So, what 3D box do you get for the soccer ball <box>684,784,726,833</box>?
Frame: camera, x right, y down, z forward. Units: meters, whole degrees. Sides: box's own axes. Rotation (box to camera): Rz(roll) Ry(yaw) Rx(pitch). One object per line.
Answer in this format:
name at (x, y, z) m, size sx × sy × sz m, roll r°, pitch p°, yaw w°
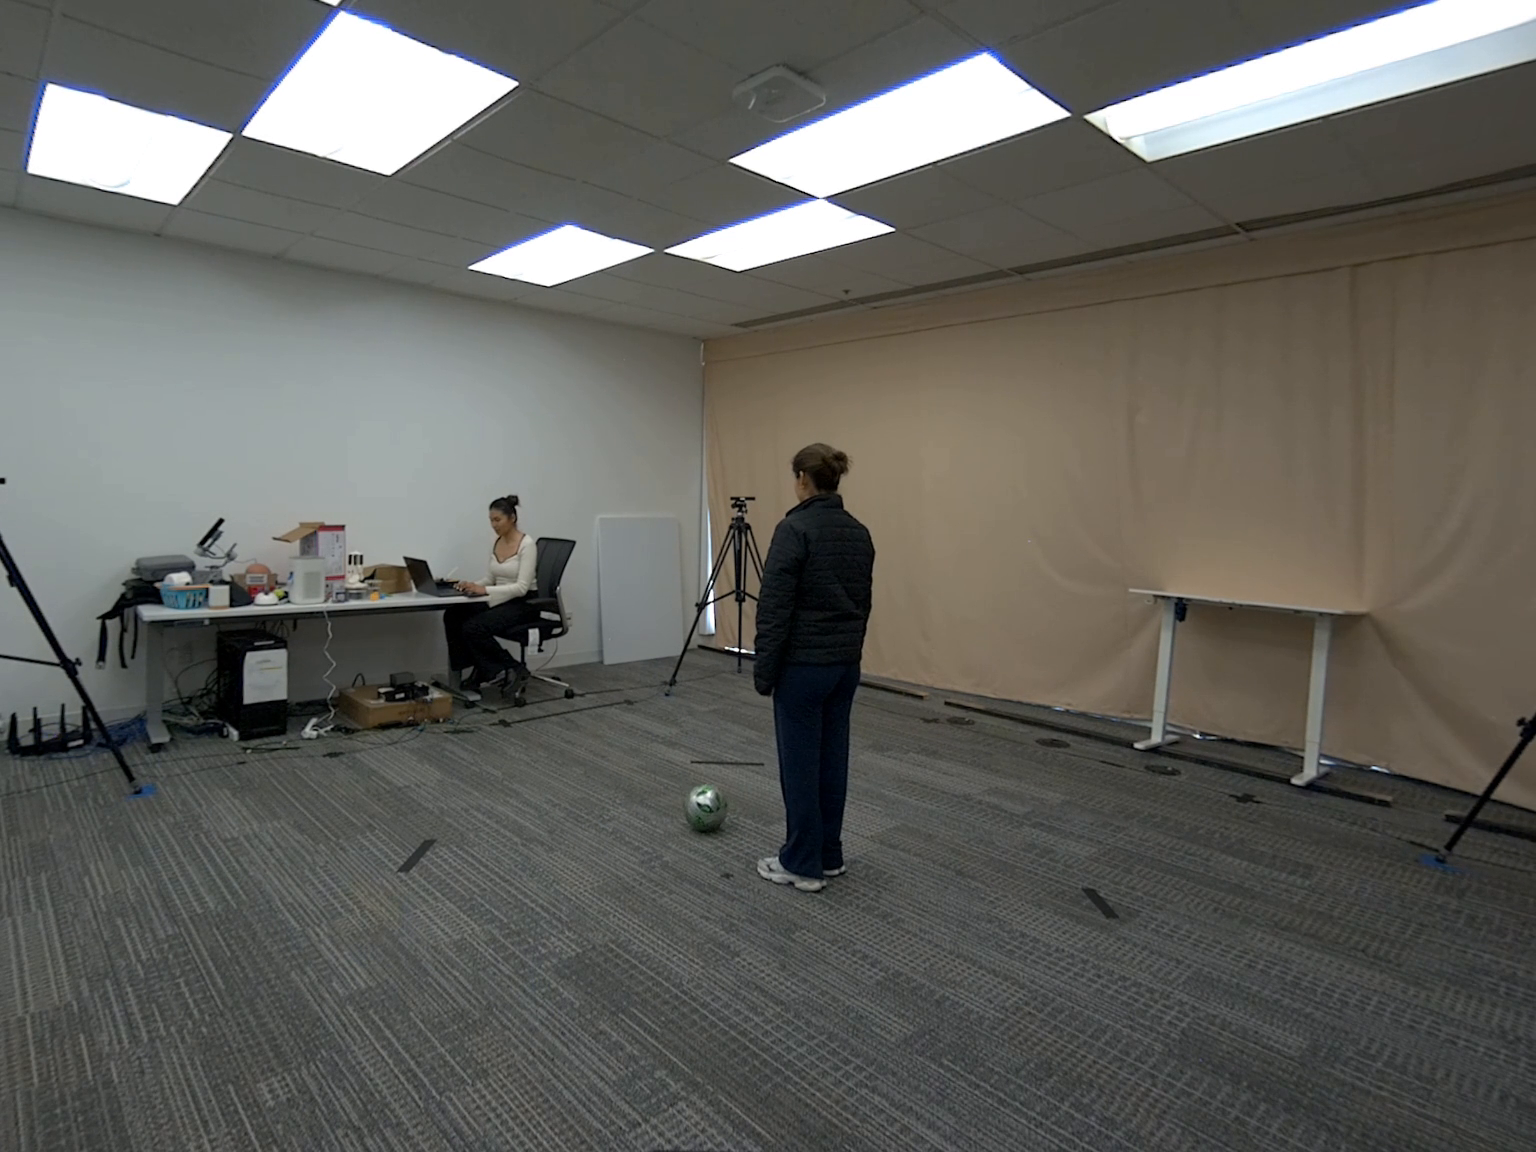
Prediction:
soccer ball at (-0.268, 0.973, 3.532) m, size 0.187 × 0.187 × 0.188 m, roll 1°, pitch 4°, yaw -1°
